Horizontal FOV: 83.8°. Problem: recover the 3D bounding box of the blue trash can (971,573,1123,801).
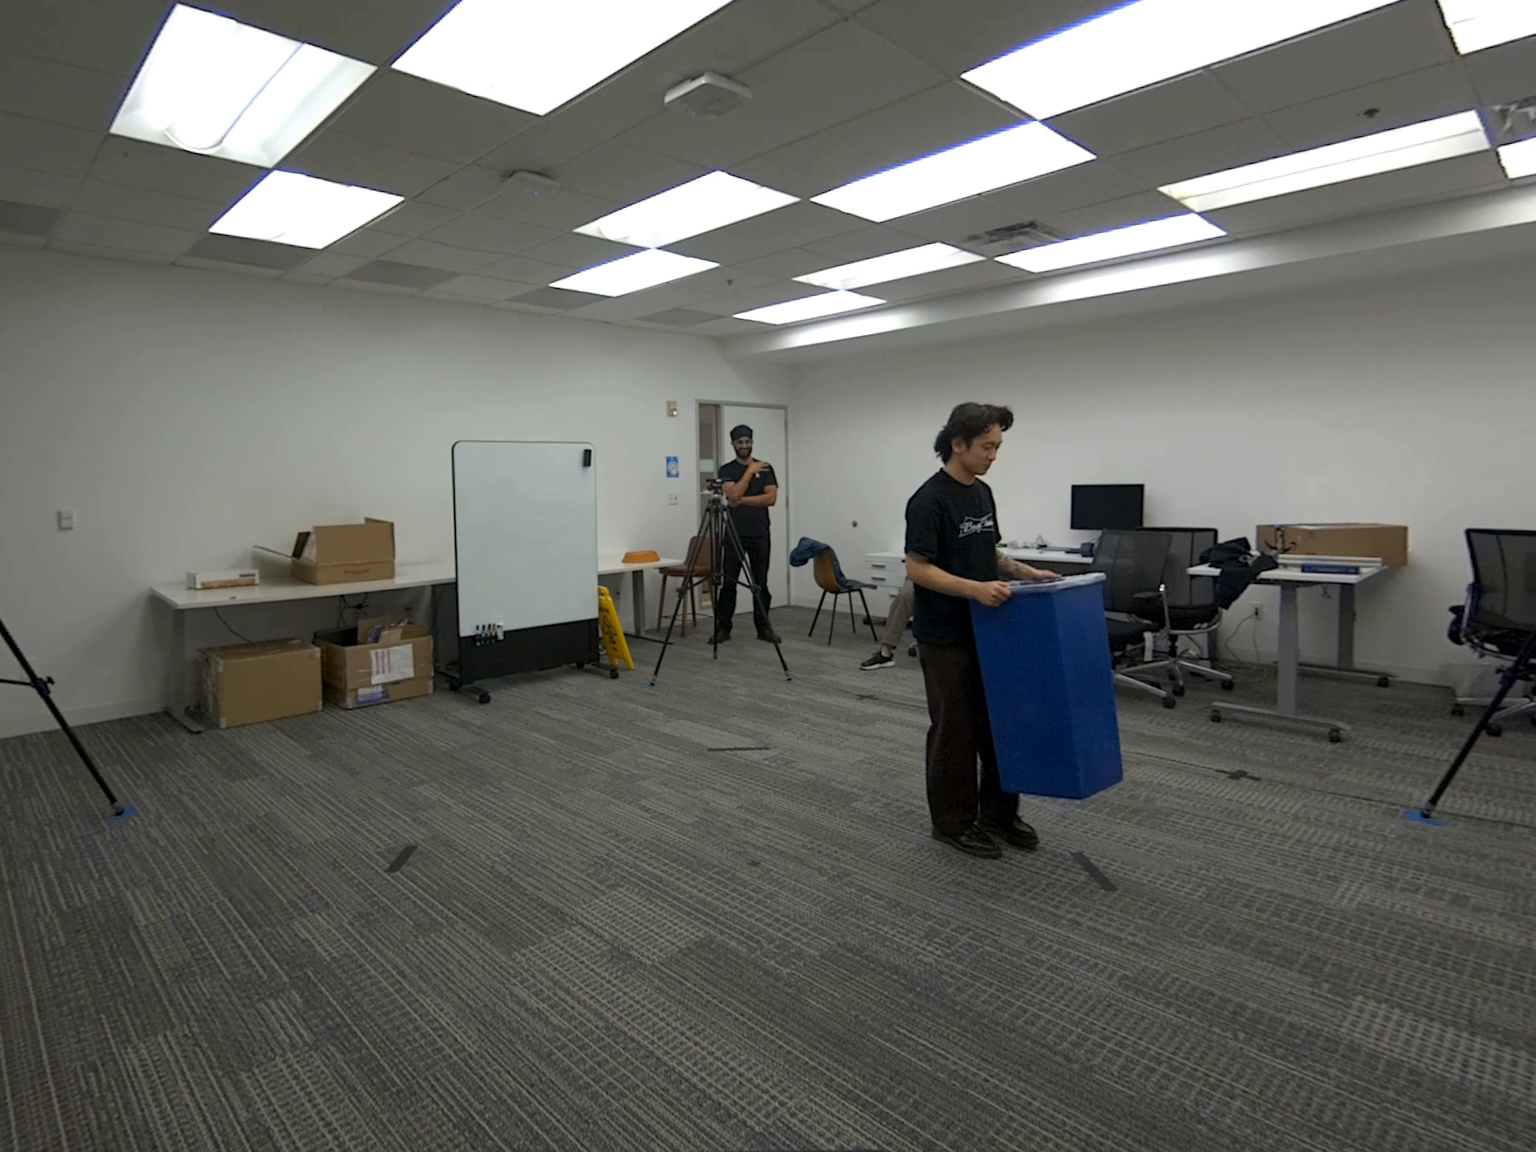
[{"bbox_3d":[0.985,0.387,2.990,0.364,0.716,0.387,-5,-4,-41],"label":"blue trash can"}]
